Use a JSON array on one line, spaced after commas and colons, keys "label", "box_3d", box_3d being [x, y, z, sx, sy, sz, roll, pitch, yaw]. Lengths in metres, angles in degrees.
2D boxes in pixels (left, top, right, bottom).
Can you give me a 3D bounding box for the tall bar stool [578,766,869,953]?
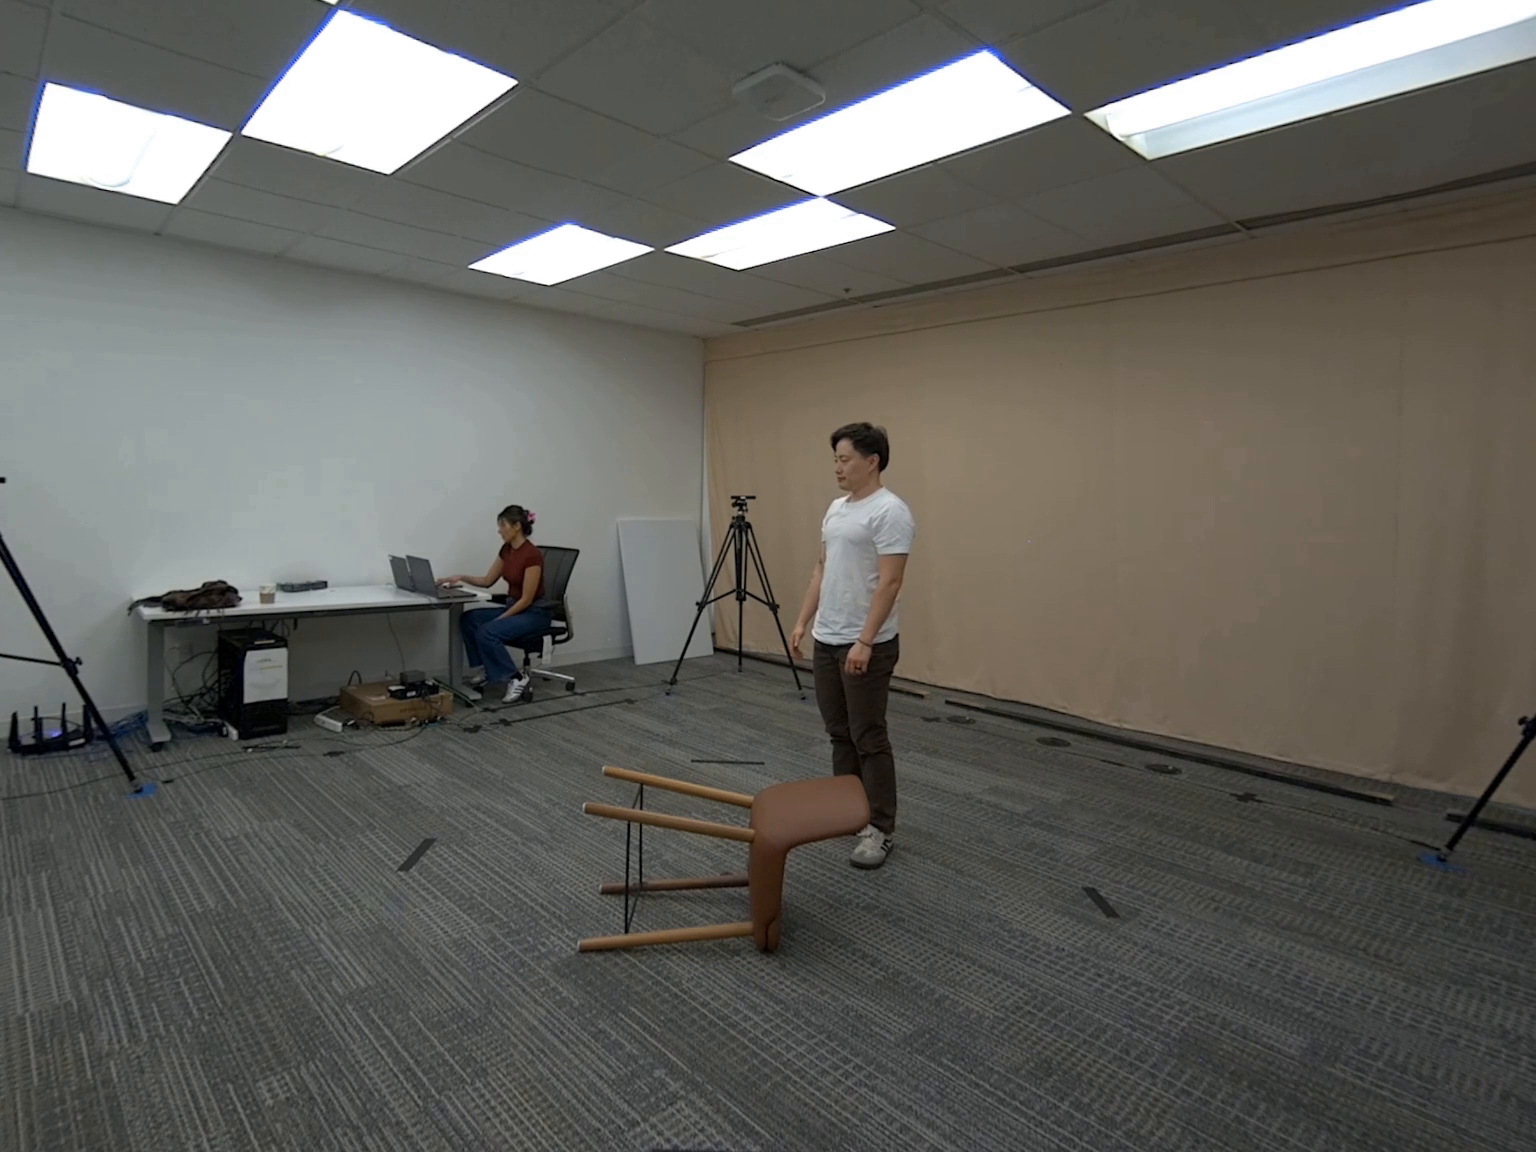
[{"label": "tall bar stool", "box_3d": [-0.139, 0.906, 2.730, 0.890, 0.466, 0.457, 0, 4, 1]}]
